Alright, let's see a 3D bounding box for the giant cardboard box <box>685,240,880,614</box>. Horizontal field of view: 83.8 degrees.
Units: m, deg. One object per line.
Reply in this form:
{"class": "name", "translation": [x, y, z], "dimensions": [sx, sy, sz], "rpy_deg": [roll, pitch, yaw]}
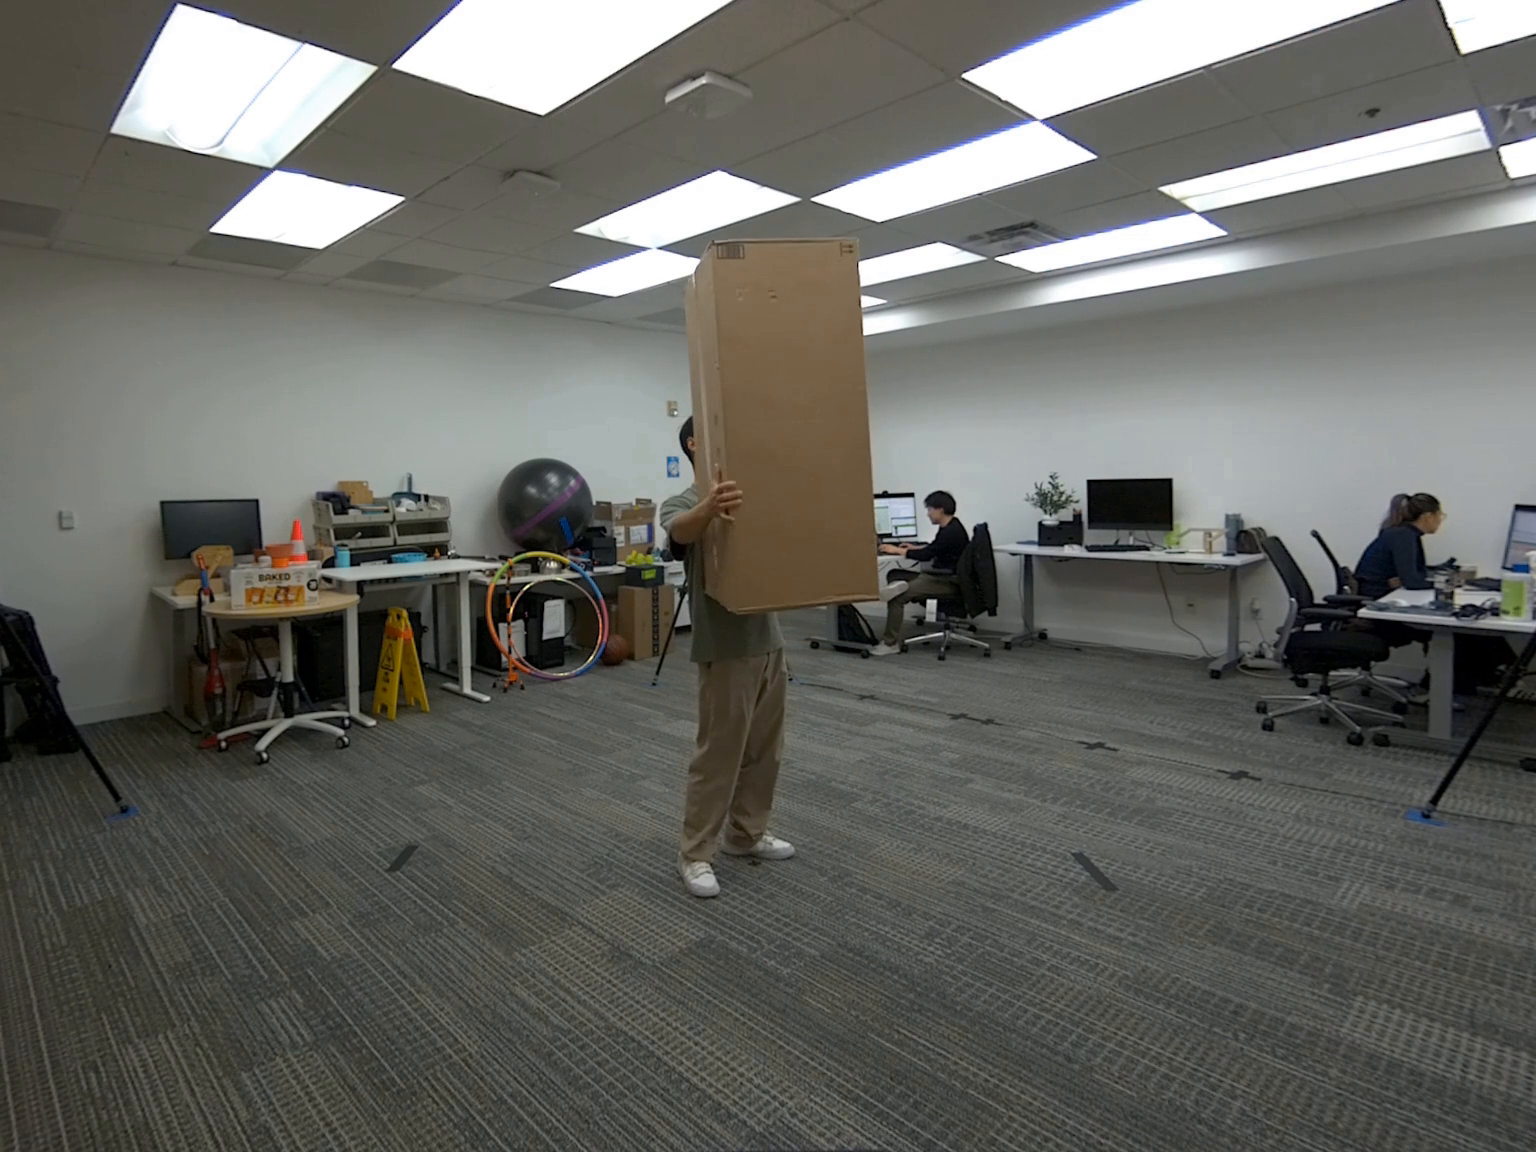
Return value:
{"class": "giant cardboard box", "translation": [0.025, -0.439, 2.649], "dimensions": [0.422, 1.022, 0.585], "rpy_deg": [-4, 4, -12]}
